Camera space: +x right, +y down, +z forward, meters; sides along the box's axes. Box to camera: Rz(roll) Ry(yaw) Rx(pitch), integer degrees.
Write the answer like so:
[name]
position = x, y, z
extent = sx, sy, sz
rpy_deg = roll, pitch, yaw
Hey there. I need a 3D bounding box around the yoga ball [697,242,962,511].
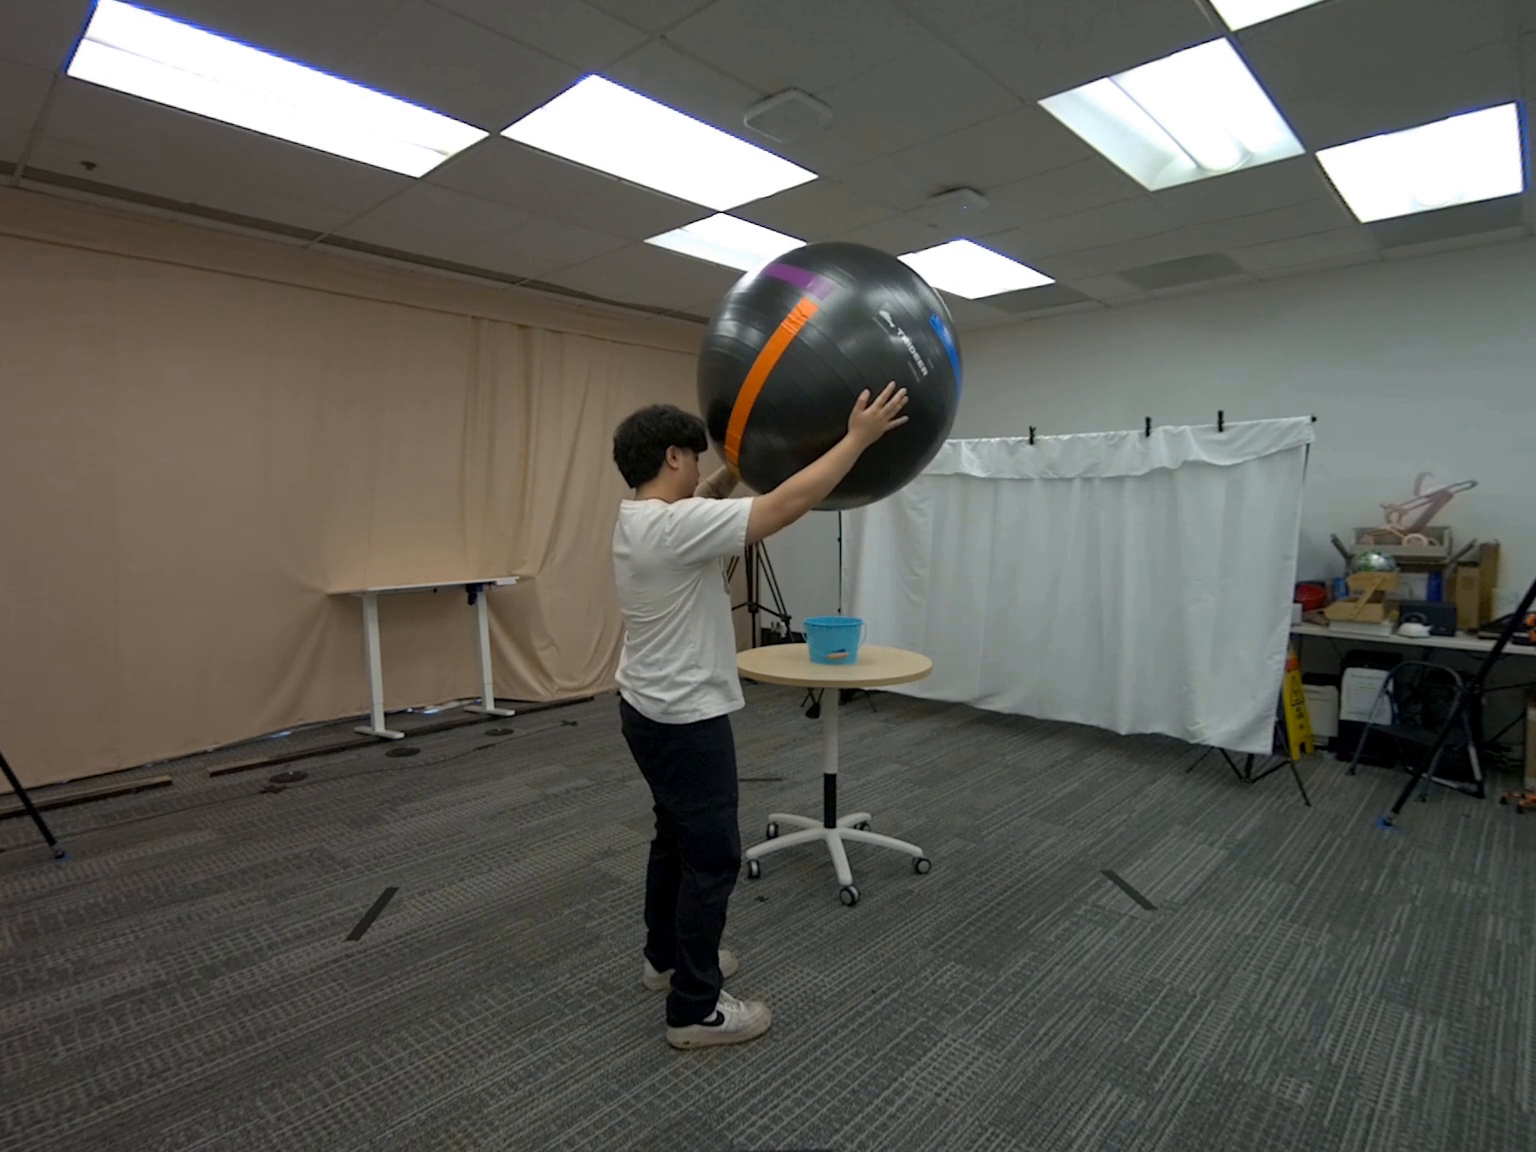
[yoga ball]
position = 0.174, -0.557, 2.435
extent = 0.757, 0.756, 0.760
rpy_deg = 0, 4, -2
